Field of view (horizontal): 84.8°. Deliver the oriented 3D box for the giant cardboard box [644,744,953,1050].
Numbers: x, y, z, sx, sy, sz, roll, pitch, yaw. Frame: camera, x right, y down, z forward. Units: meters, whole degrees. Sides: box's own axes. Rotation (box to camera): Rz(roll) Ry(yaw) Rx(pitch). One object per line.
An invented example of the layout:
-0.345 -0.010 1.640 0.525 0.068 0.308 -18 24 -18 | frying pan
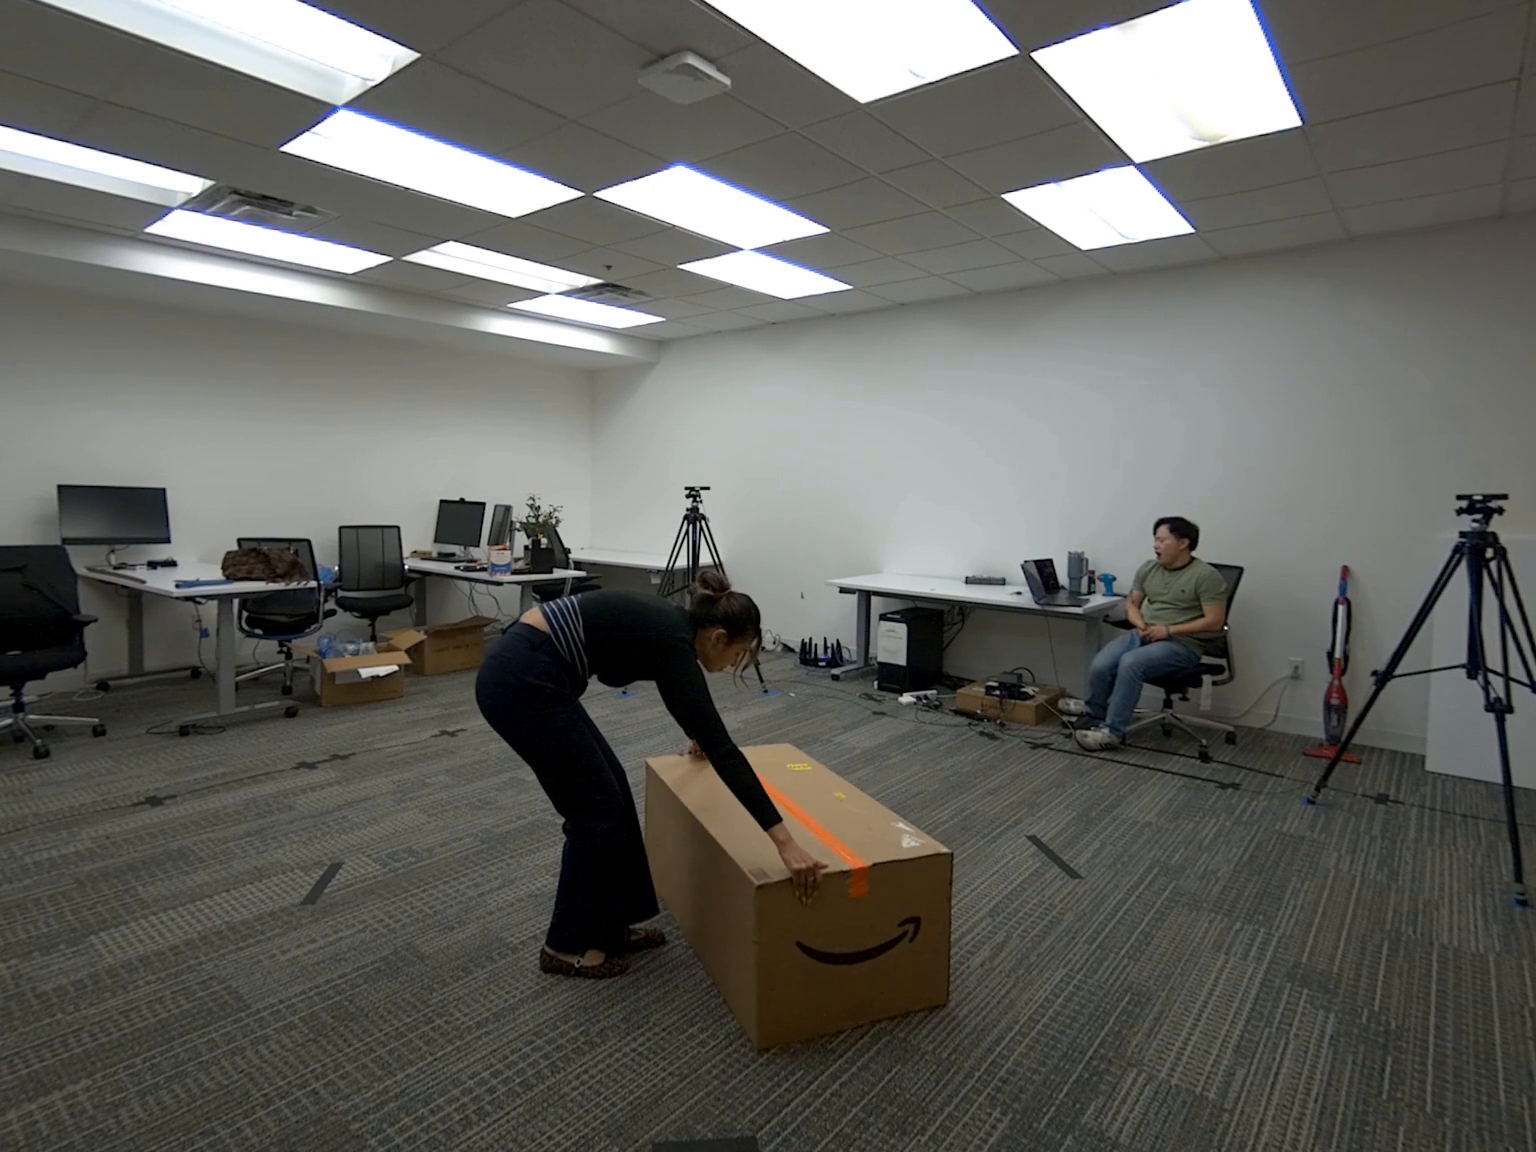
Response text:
0.020 0.896 2.662 0.565 0.424 1.053 -1 6 -23 | giant cardboard box
